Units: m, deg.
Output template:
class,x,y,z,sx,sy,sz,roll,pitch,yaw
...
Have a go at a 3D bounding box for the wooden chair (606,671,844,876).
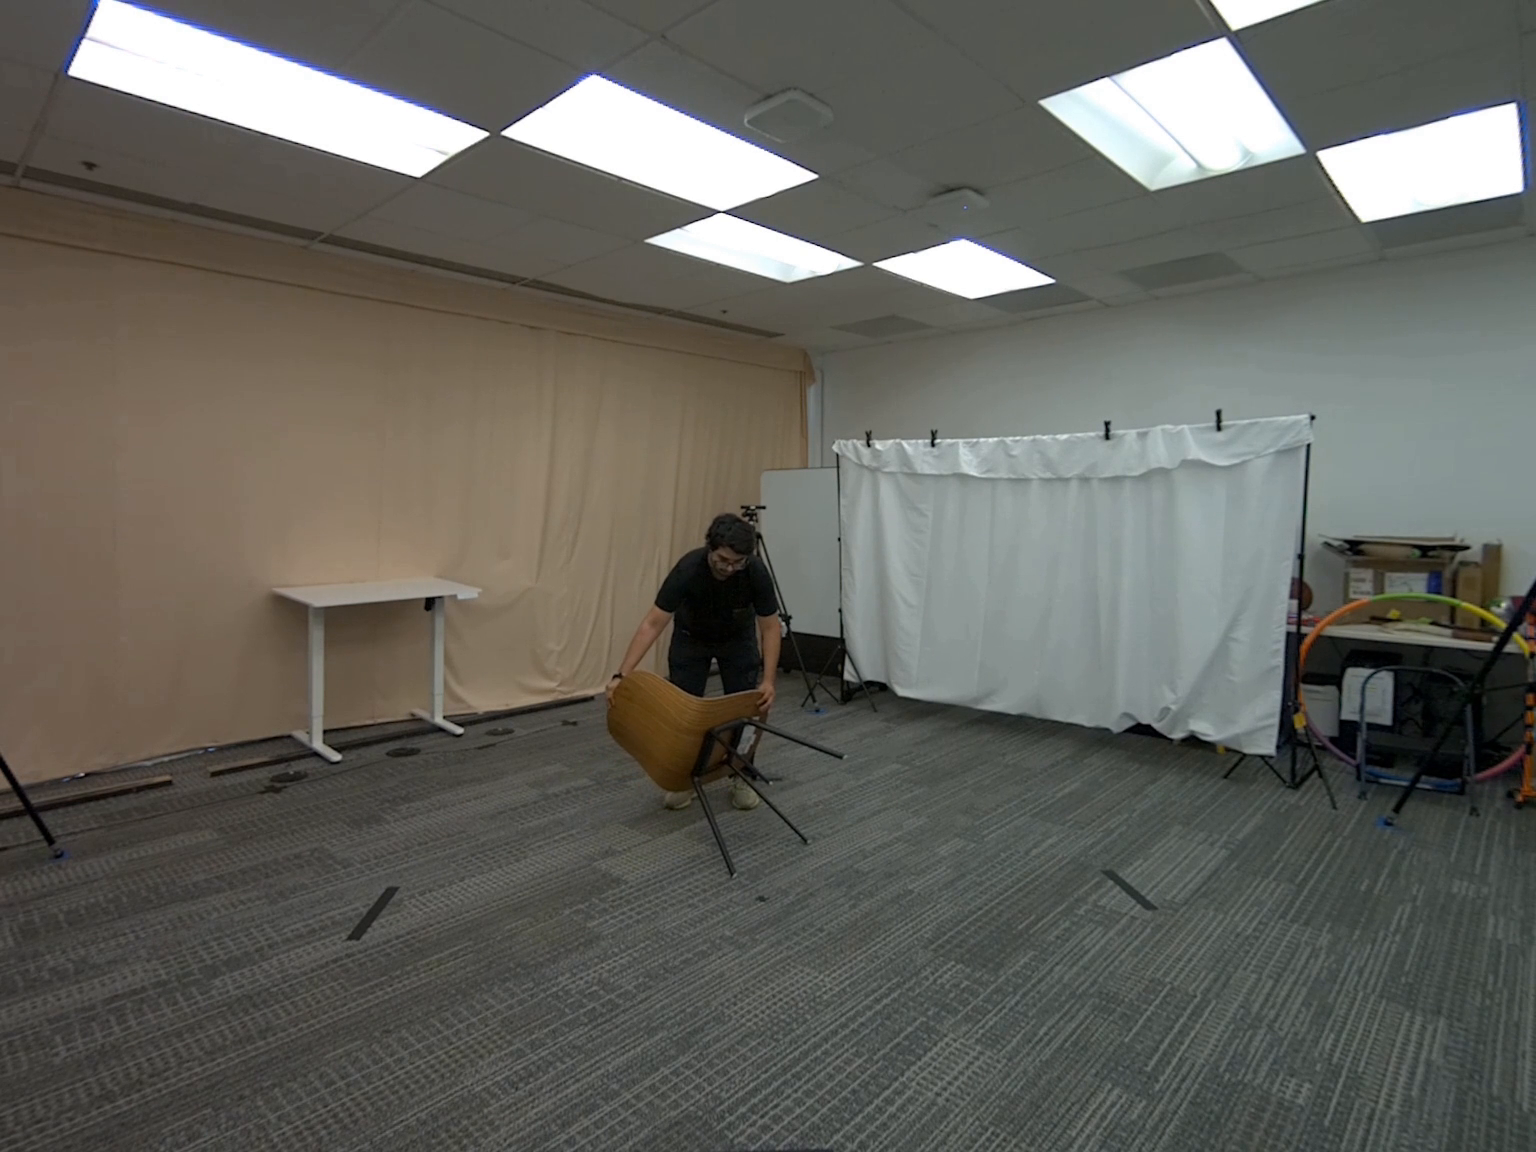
class,x,y,z,sx,sy,sz,roll,pitch,yaw
wooden chair,-0.194,0.714,3.495,0.908,0.475,0.508,32,25,33
